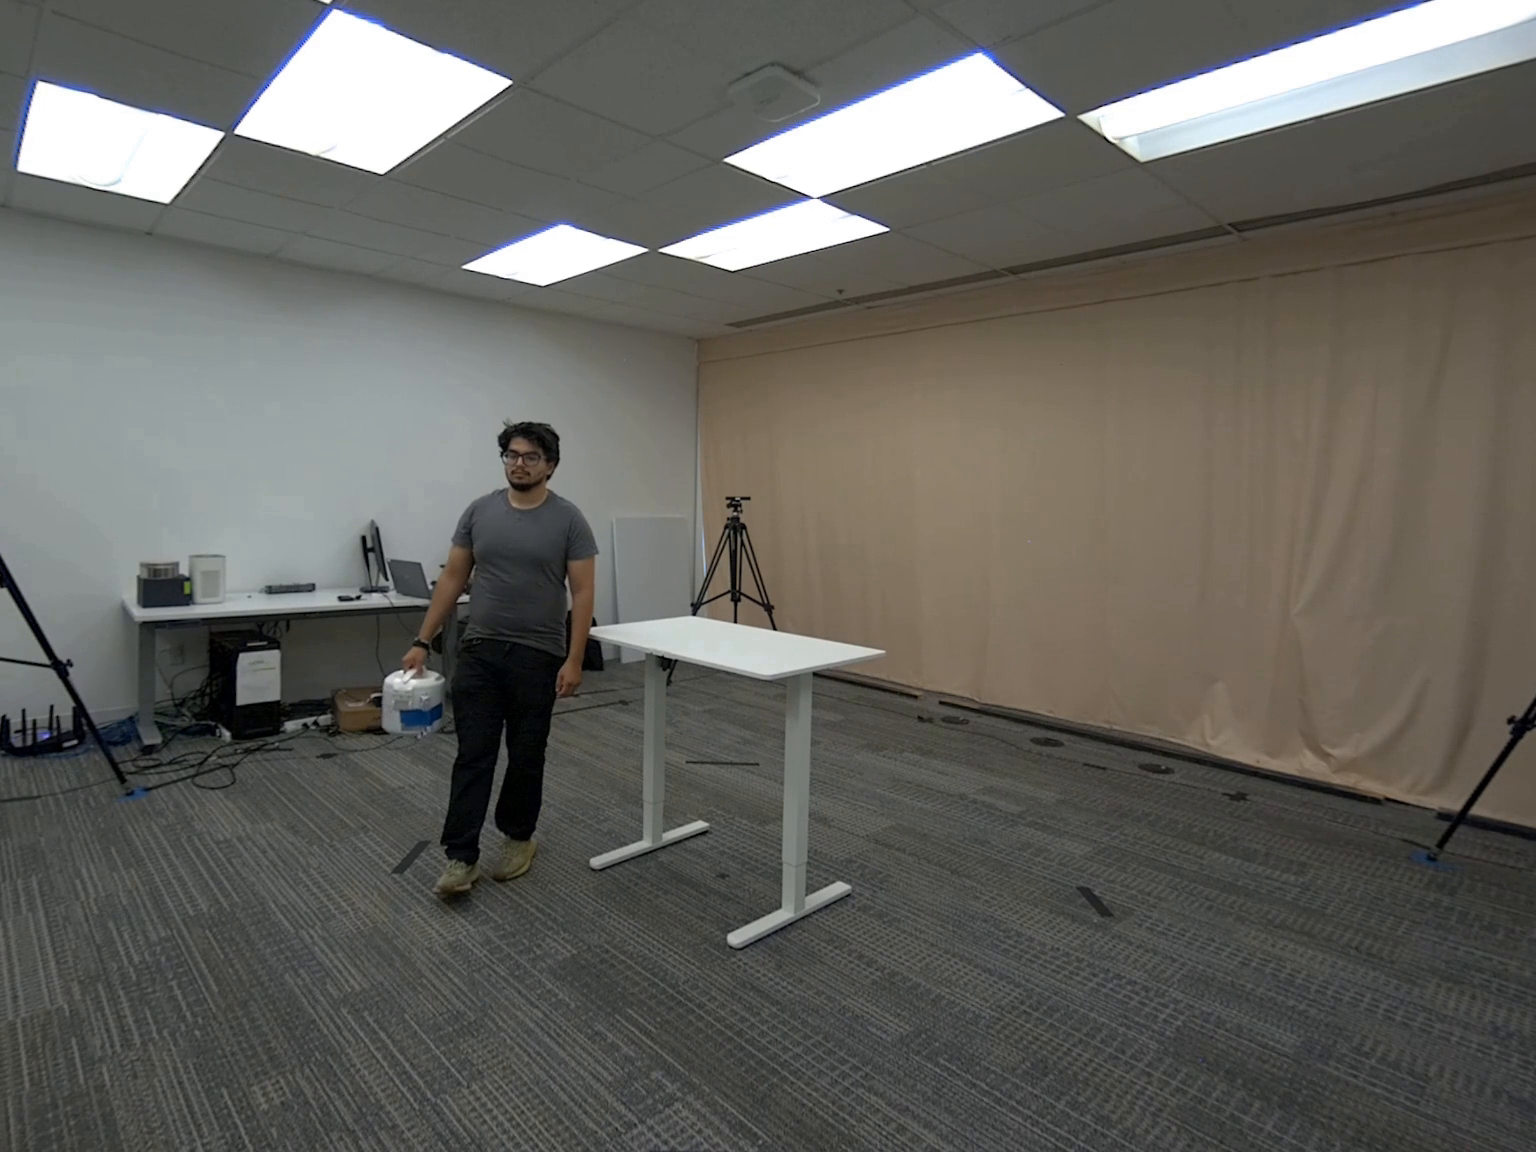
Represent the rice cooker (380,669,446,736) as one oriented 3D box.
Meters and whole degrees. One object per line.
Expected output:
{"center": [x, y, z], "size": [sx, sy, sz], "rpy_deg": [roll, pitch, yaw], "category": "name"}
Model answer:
{"center": [-1.271, 0.442, 3.023], "size": [0.218, 0.232, 0.221], "rpy_deg": [6, 5, 1], "category": "rice cooker"}
